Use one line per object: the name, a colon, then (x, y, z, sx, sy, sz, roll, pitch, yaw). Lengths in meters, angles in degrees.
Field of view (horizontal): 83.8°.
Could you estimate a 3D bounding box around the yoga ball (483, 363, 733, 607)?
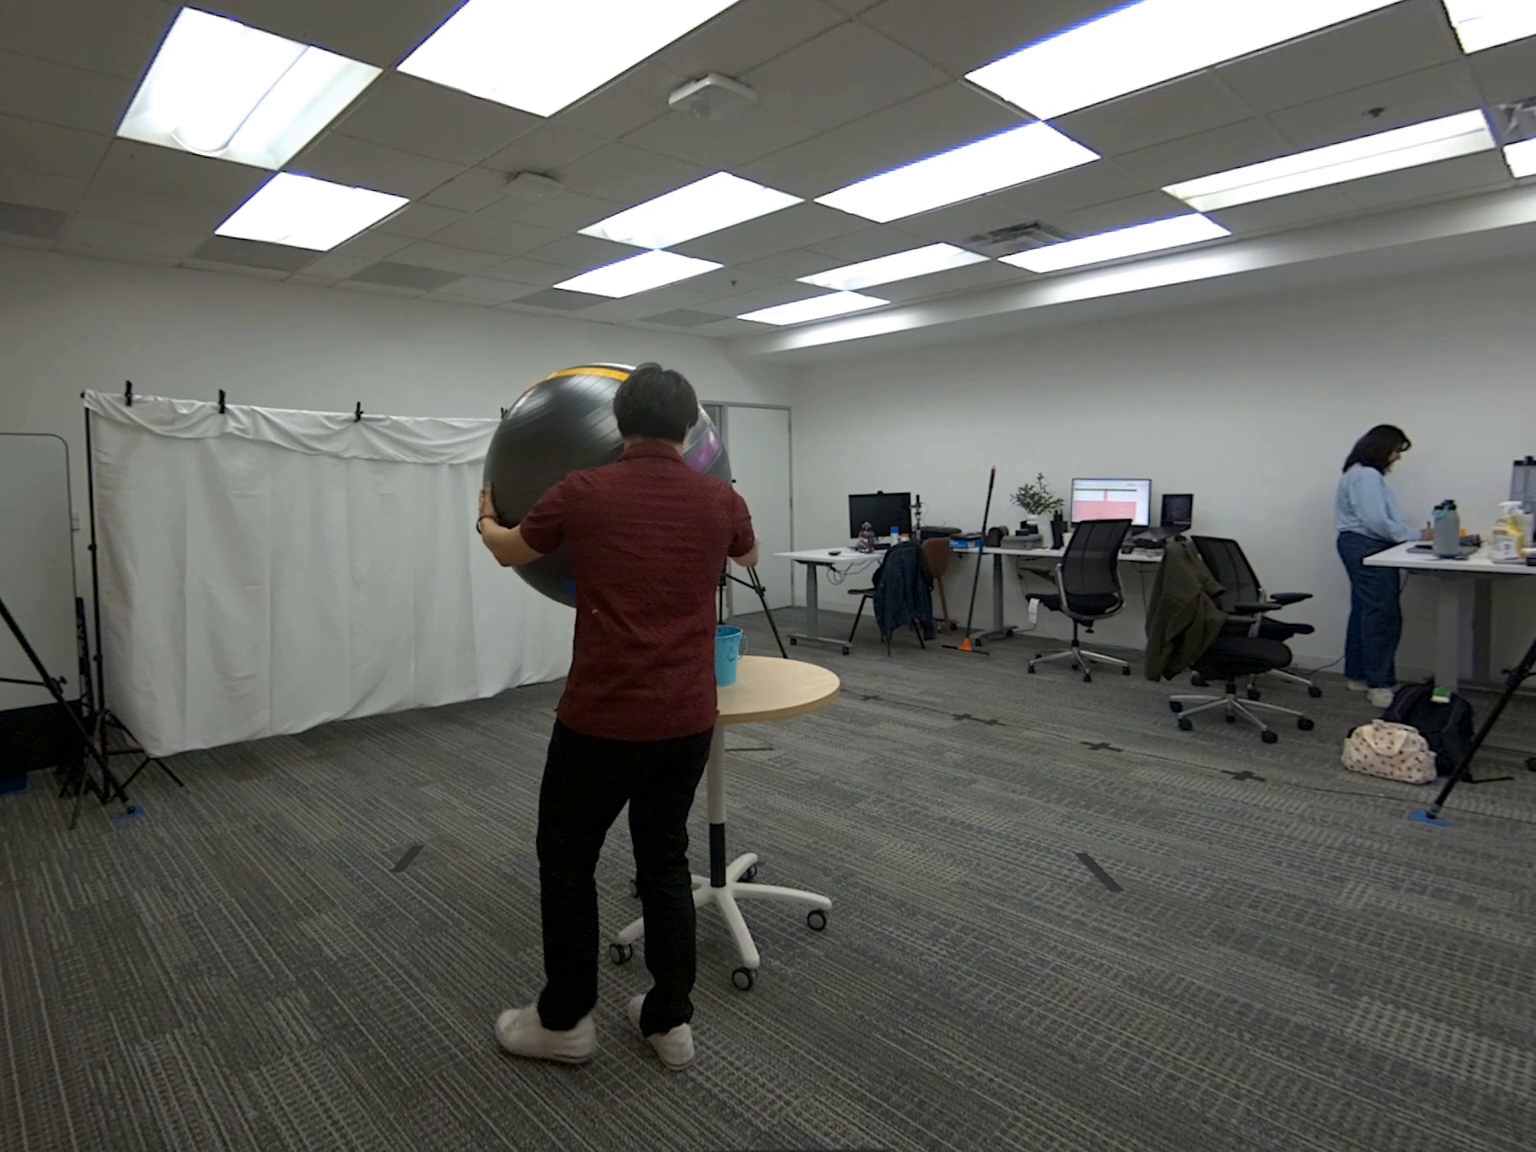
yoga ball: (-0.501, -0.271, 2.629, 0.757, 0.755, 0.762, -1, 5, -2)
